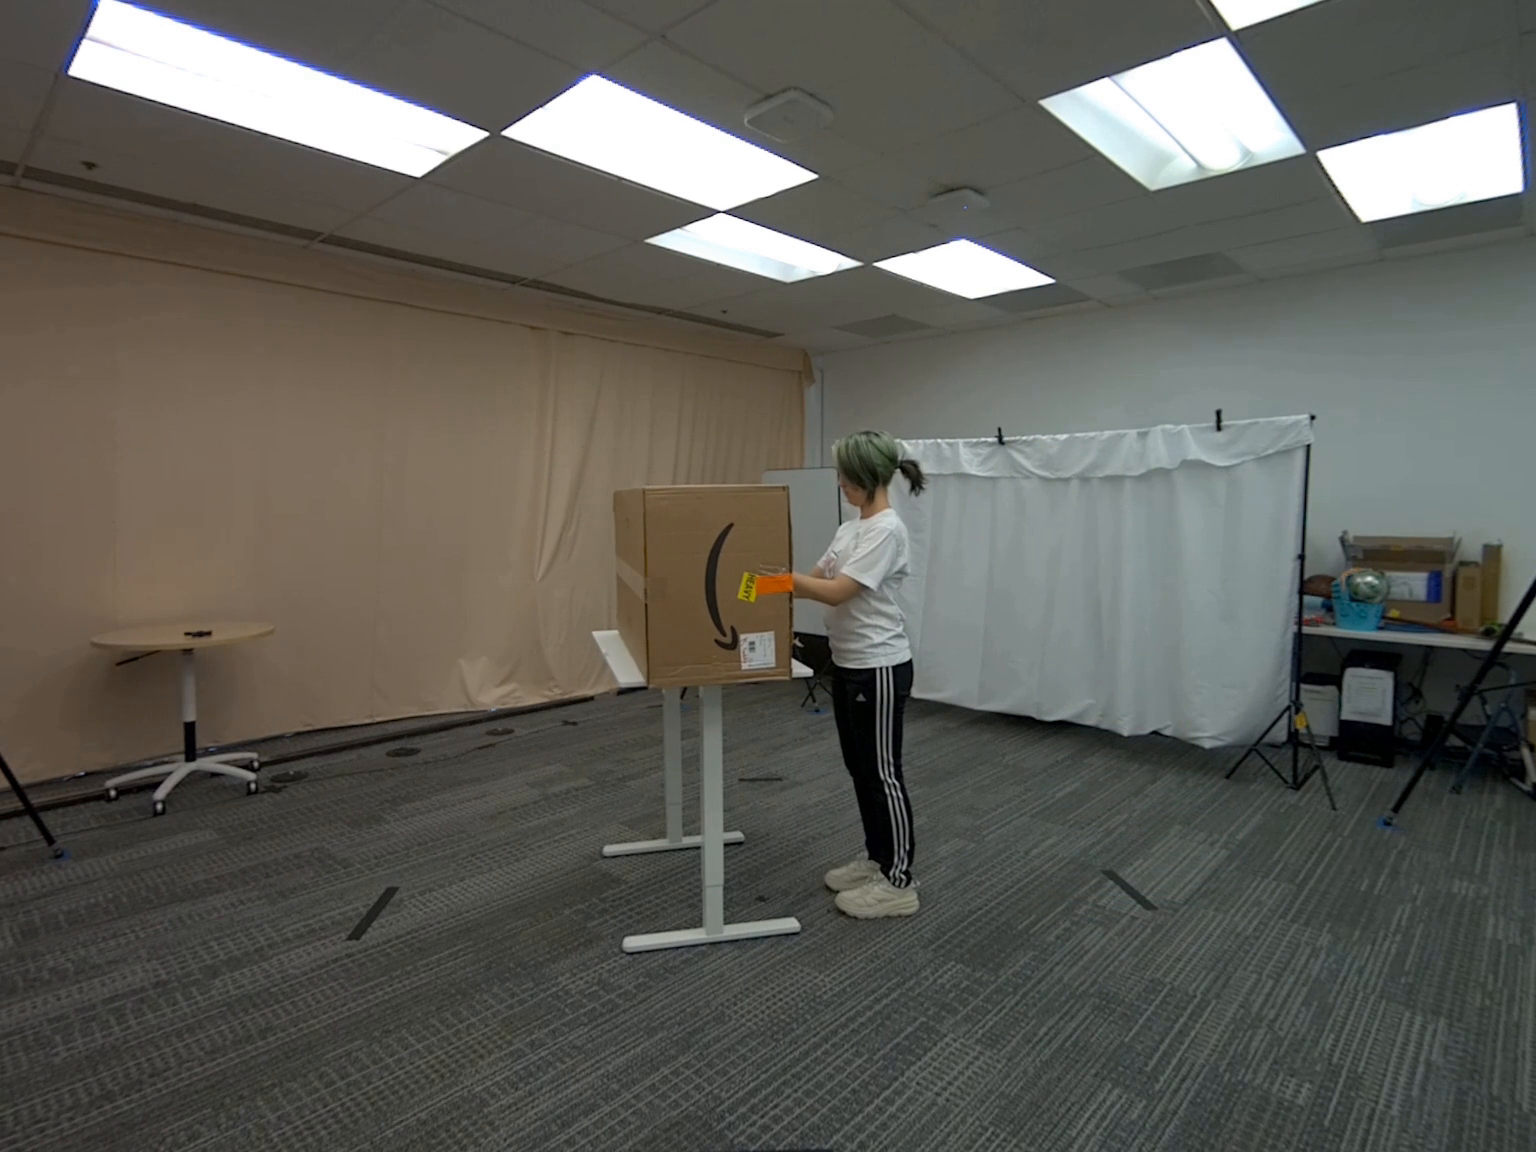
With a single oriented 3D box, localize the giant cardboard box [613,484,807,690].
[{"bbox_3d":[-0.266,-0.017,2.896,0.441,0.582,1.044,-2,5,-14],"label":"giant cardboard box"}]
